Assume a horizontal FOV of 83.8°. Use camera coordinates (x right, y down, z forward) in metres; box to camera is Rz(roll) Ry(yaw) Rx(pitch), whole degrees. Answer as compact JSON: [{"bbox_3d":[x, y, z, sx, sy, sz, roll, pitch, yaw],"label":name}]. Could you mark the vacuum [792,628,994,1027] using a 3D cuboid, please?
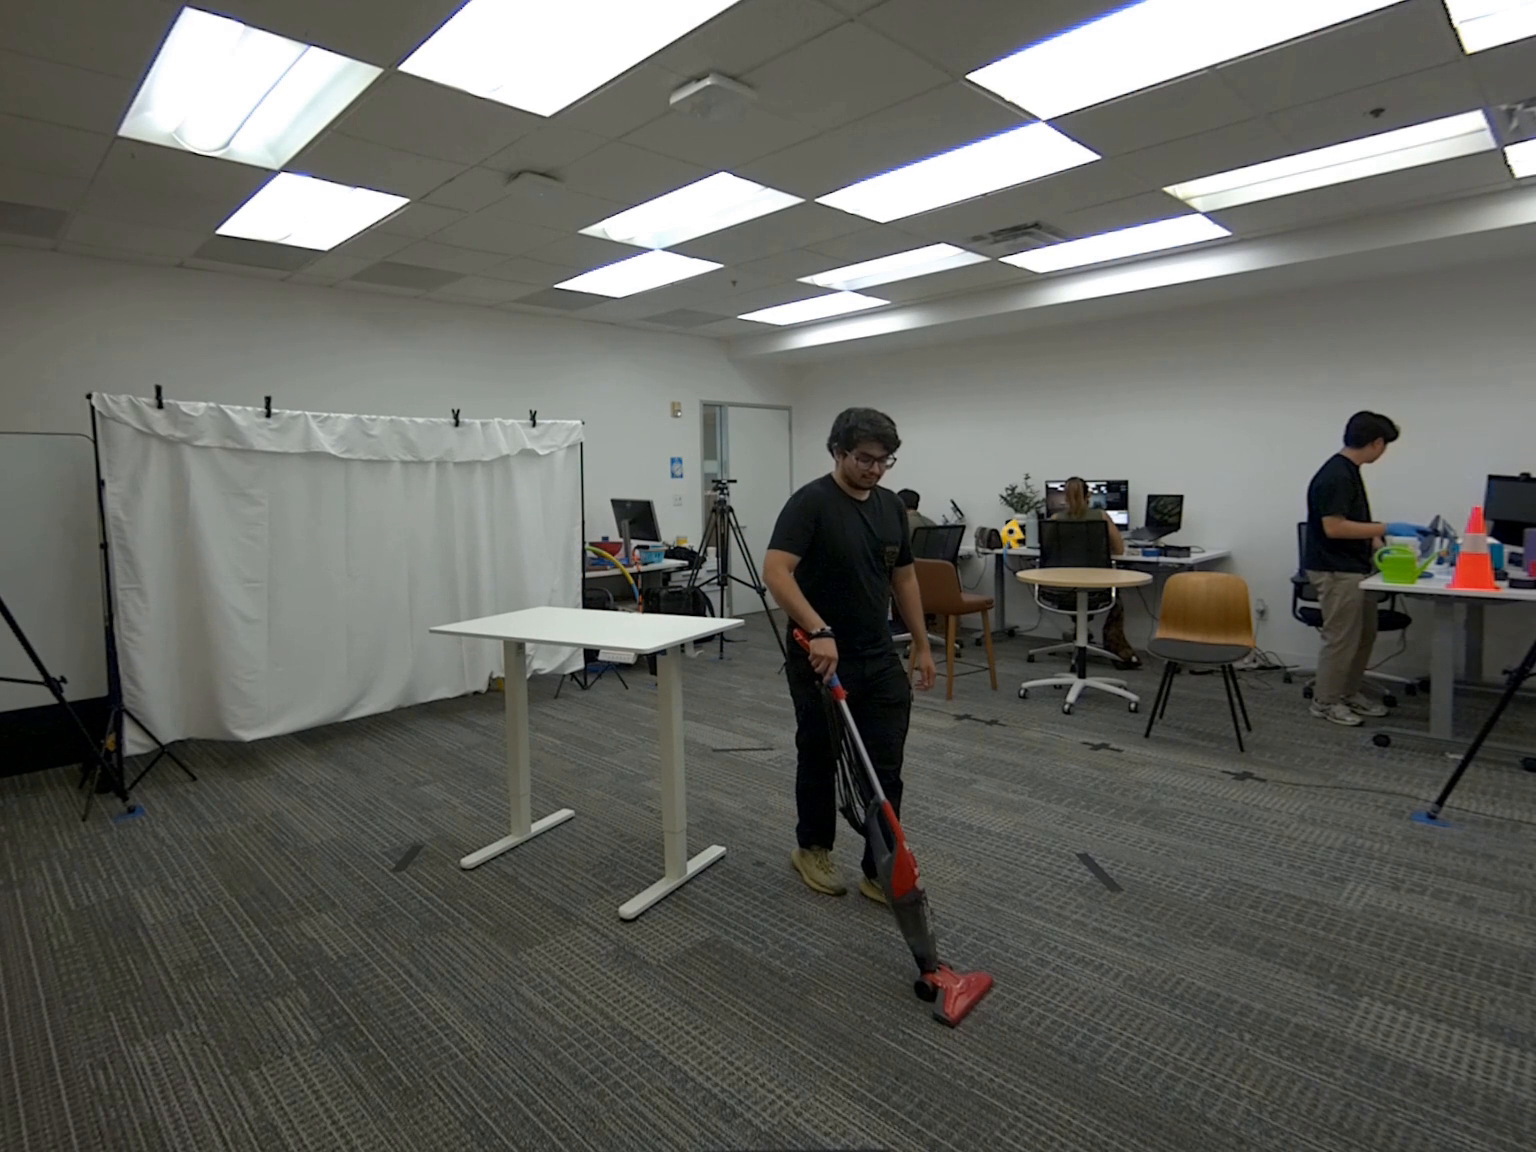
[{"bbox_3d":[0.303,0.656,2.430,0.246,1.068,0.145,-6,-22,-47],"label":"vacuum"}]
